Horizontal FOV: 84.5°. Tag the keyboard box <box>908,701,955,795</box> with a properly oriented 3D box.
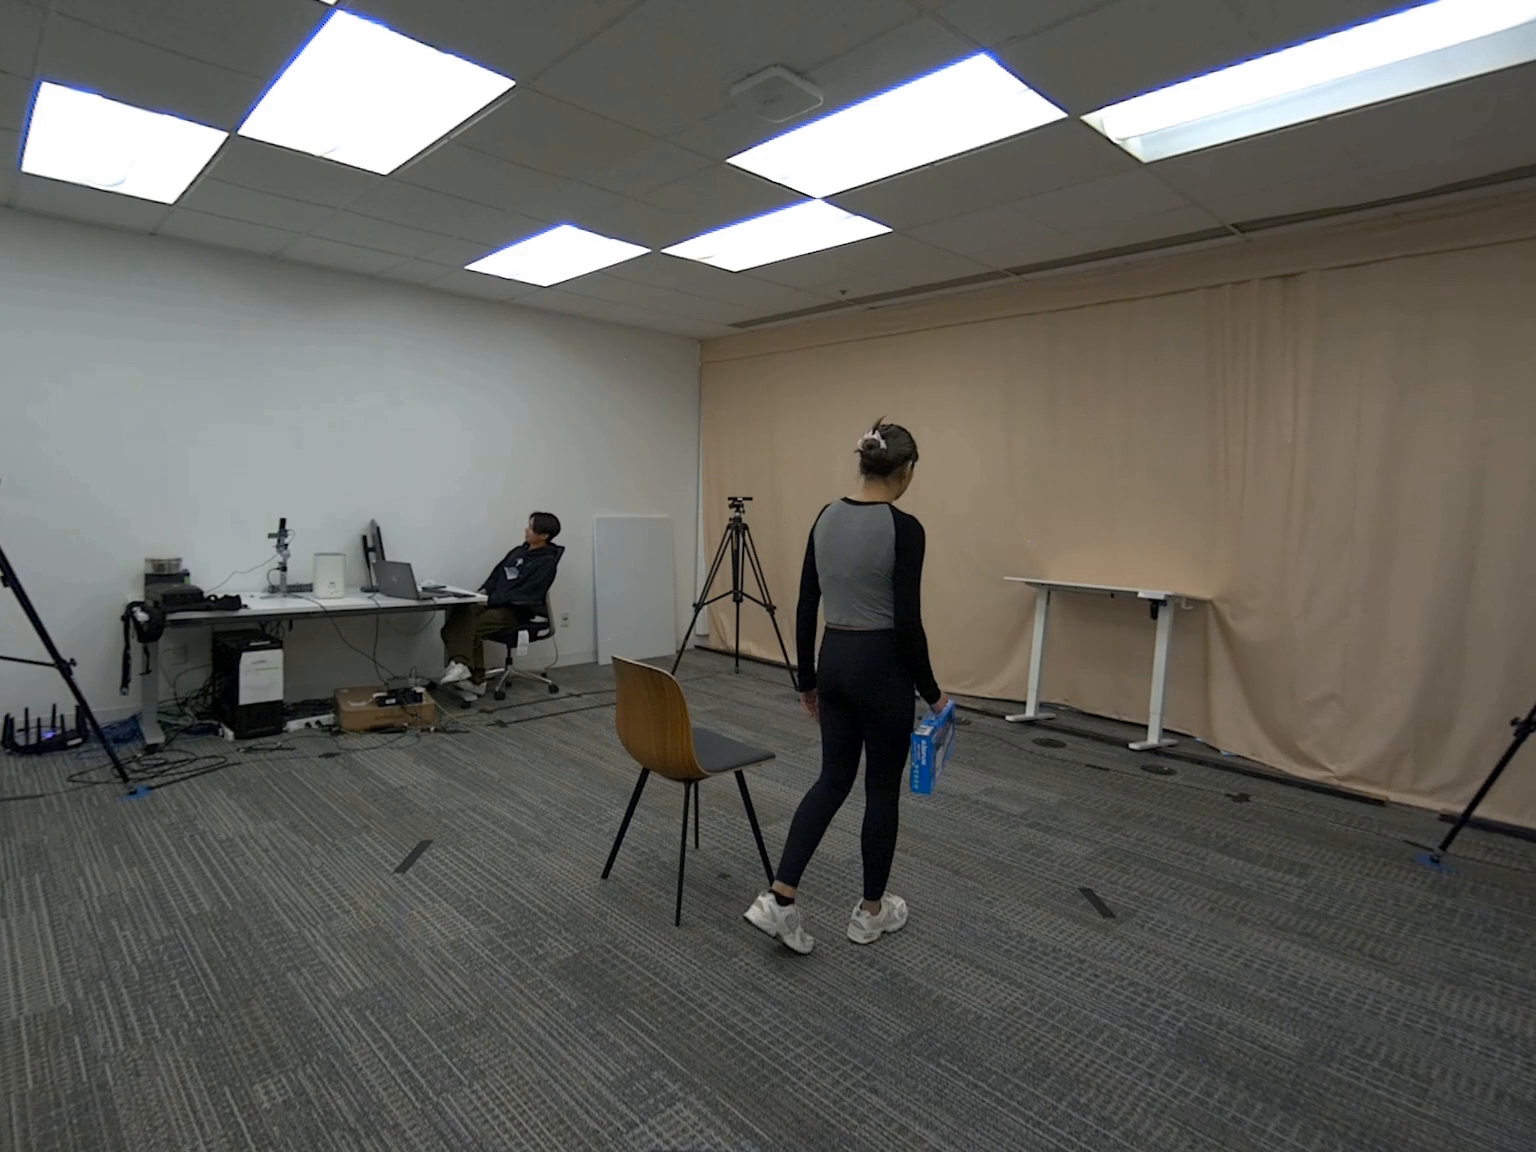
[{"bbox_3d":[0.509,0.521,2.634,0.060,0.175,0.431,2,8,21],"label":"keyboard box"}]
